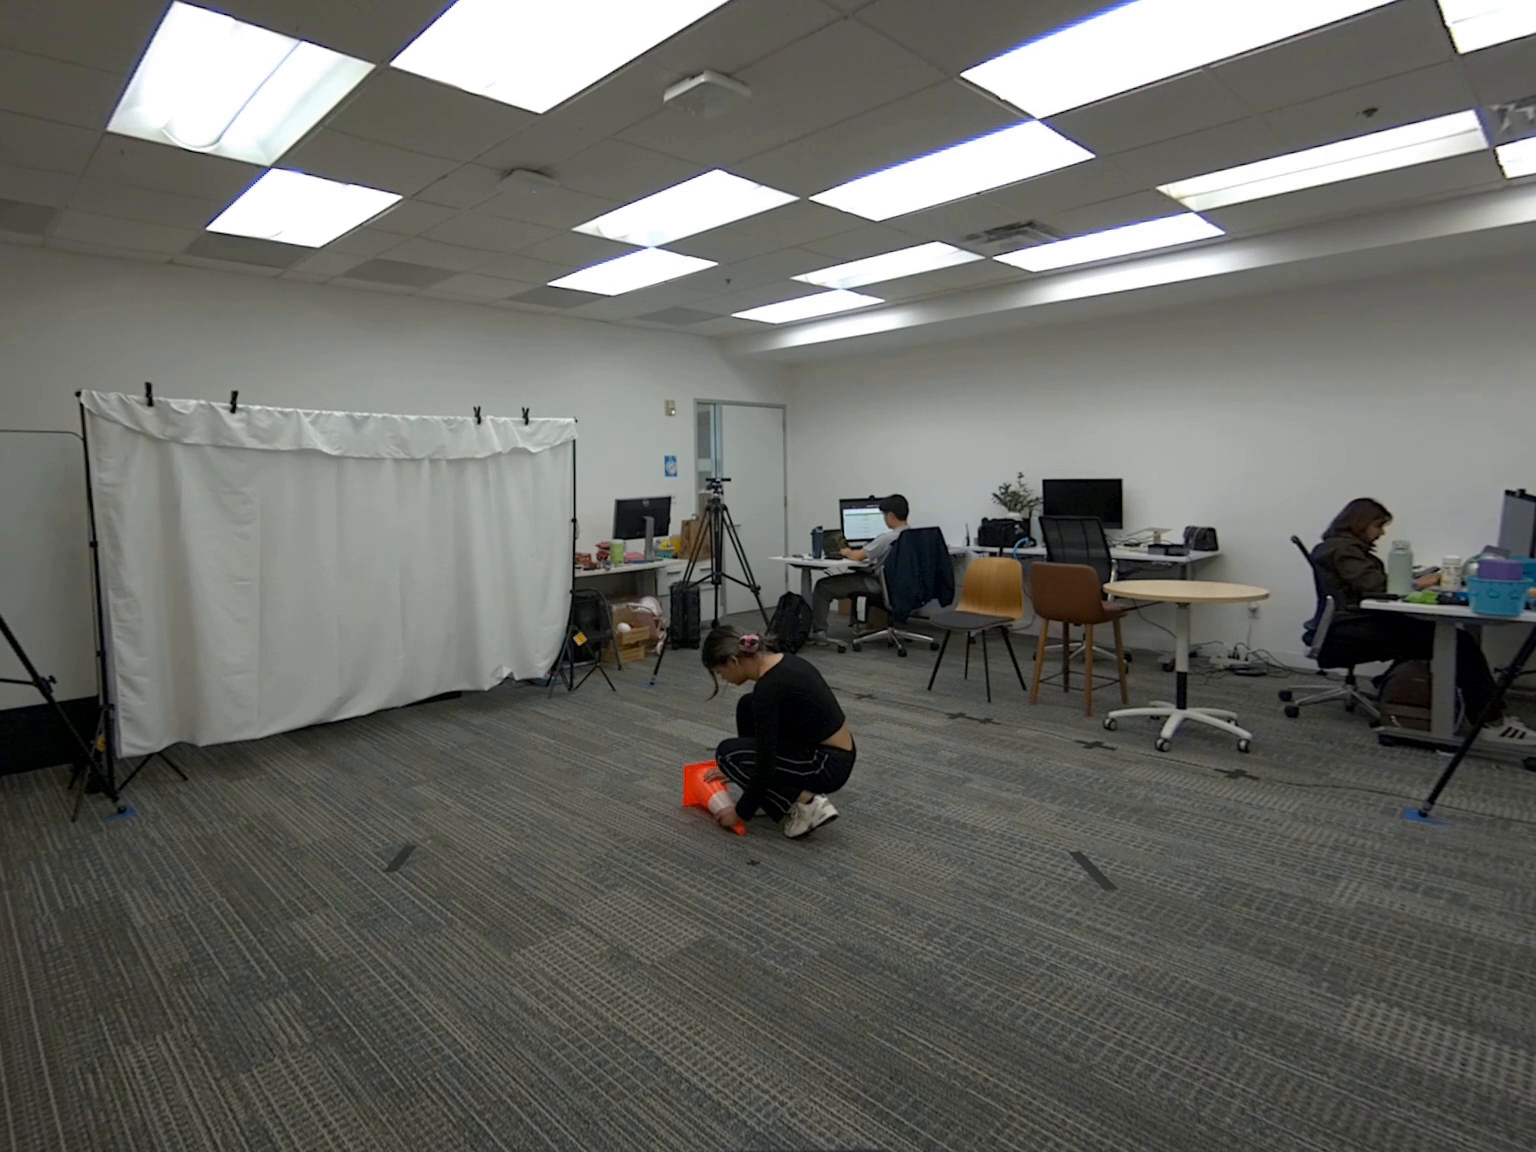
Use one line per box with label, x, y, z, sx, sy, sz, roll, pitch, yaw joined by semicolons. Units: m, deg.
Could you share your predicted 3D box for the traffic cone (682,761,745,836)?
traffic cone;-0.190;0.940;3.509;0.199;0.202;0.396;-5;18;-23
